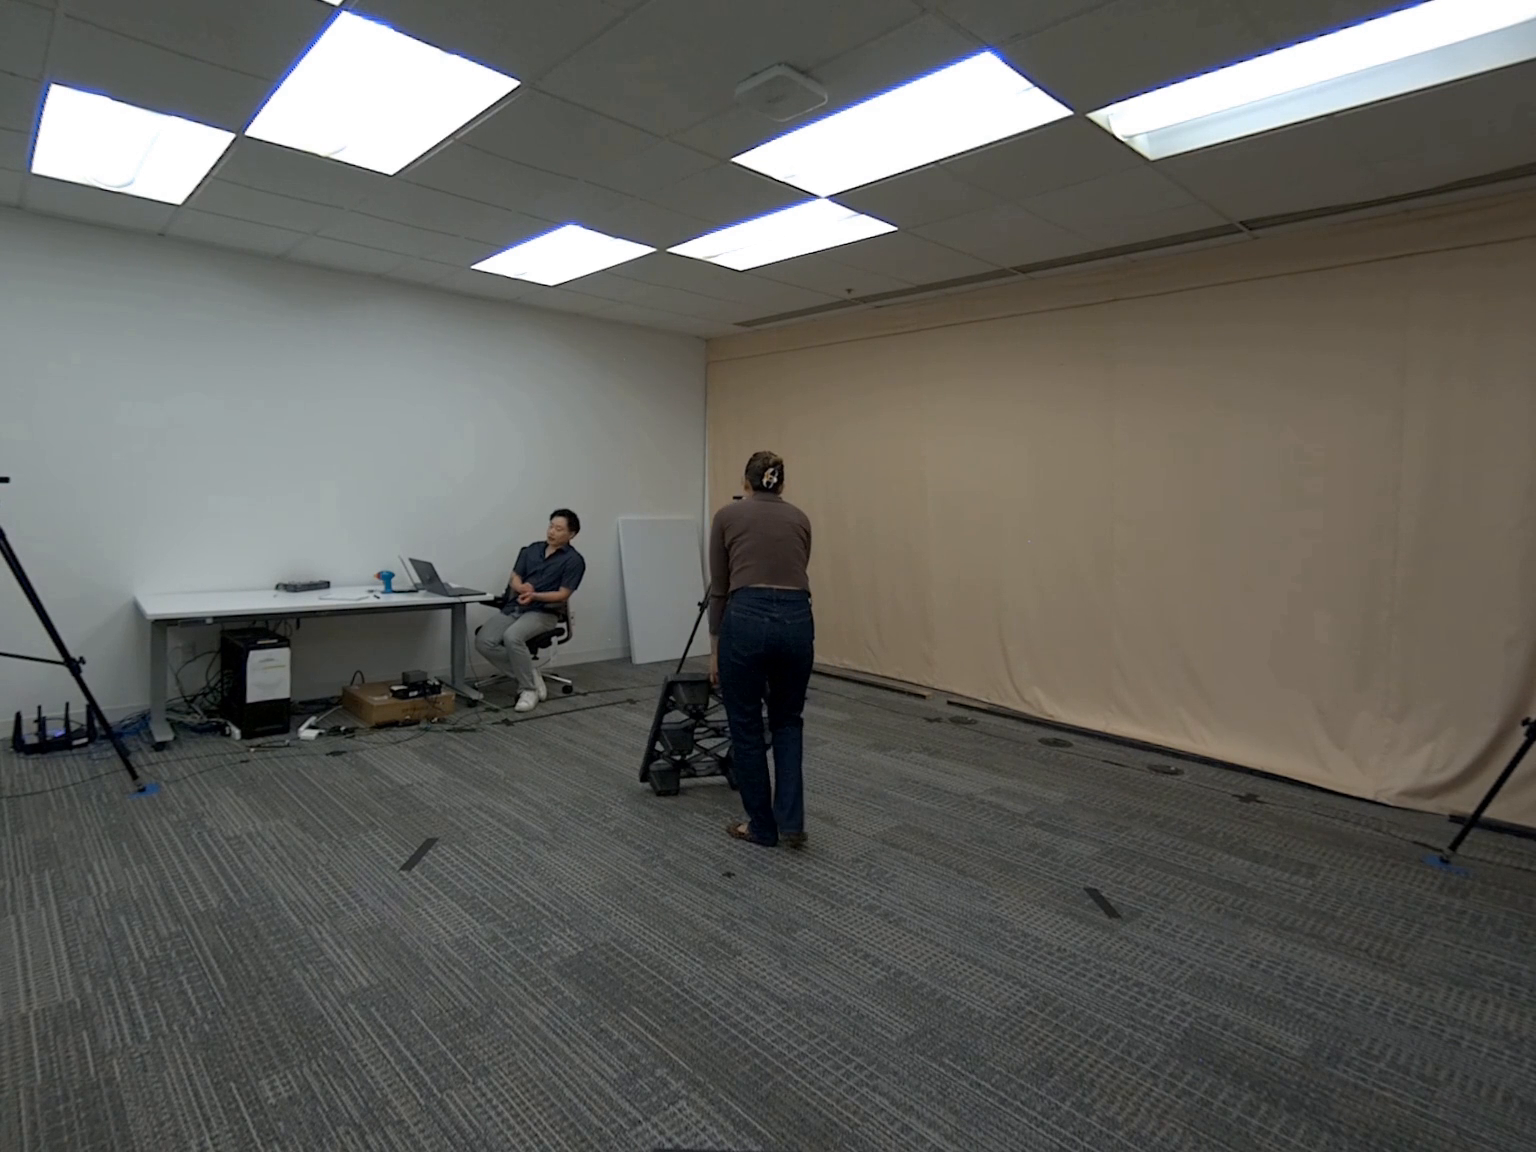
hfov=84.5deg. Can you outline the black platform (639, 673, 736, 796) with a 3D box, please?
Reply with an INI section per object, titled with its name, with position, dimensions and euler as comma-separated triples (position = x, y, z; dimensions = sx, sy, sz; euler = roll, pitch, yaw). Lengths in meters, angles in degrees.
[black platform]
position = -0.235, 0.718, 3.779
dimensions = 0.597, 0.794, 0.147
euler = 0, 46, -19
